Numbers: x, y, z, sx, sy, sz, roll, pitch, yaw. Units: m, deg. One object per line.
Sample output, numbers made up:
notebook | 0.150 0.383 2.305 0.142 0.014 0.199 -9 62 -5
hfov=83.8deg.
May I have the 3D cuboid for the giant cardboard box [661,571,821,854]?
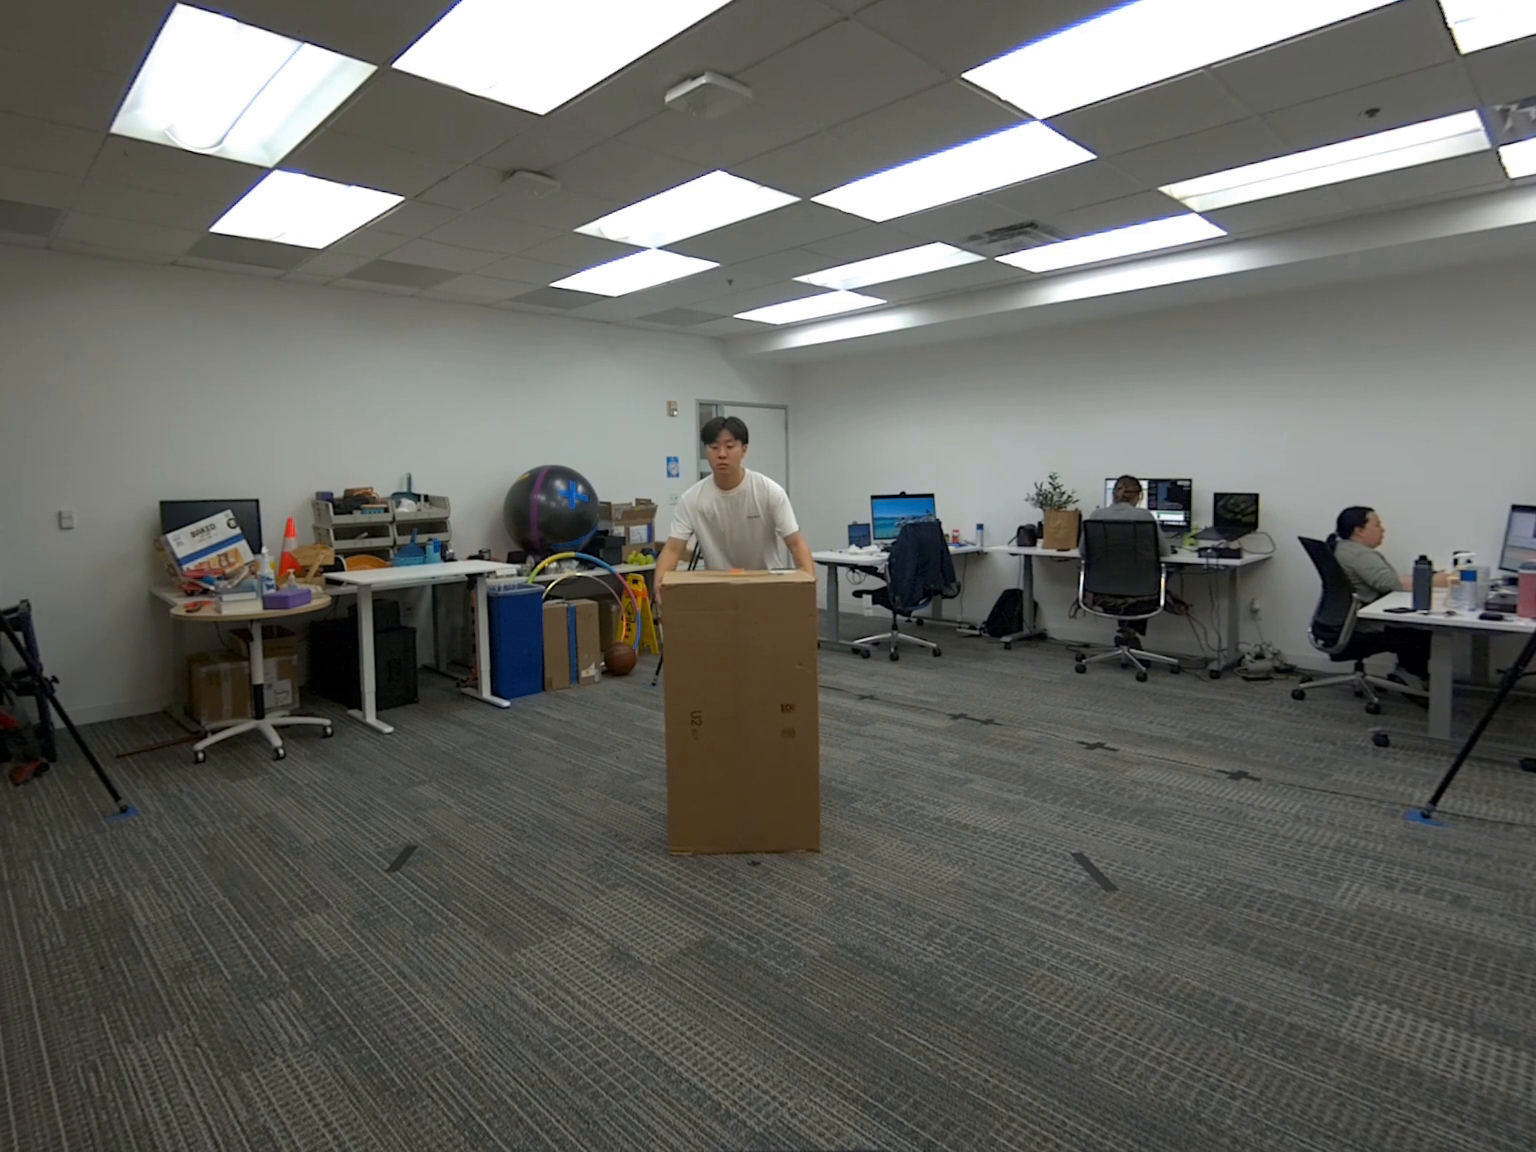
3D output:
giant cardboard box | -0.113 0.502 3.370 0.576 1.022 0.429 -1 4 -3
